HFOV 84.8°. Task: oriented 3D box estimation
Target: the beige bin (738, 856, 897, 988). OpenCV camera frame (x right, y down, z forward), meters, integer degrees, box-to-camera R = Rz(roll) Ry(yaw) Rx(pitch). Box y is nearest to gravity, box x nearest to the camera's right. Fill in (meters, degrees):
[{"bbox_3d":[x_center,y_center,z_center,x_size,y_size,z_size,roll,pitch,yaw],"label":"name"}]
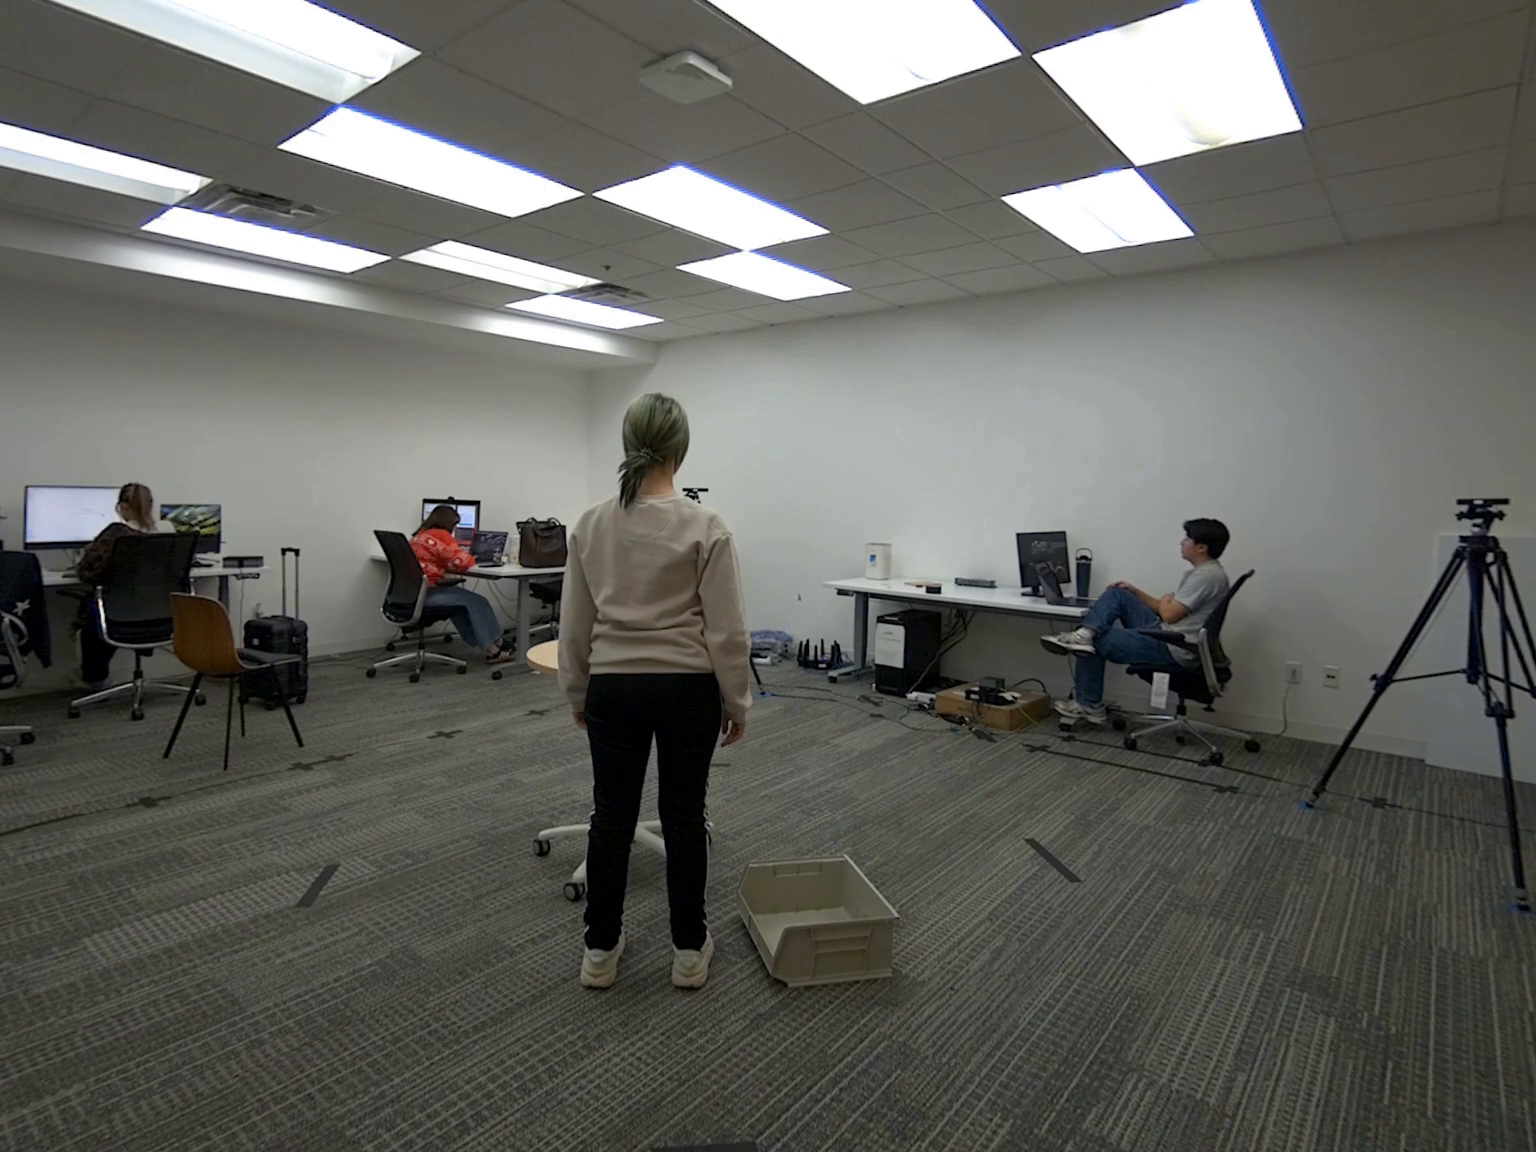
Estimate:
[{"bbox_3d":[0.132,1.040,2.597,0.372,0.188,0.430,0,4,-15],"label":"beige bin"}]
